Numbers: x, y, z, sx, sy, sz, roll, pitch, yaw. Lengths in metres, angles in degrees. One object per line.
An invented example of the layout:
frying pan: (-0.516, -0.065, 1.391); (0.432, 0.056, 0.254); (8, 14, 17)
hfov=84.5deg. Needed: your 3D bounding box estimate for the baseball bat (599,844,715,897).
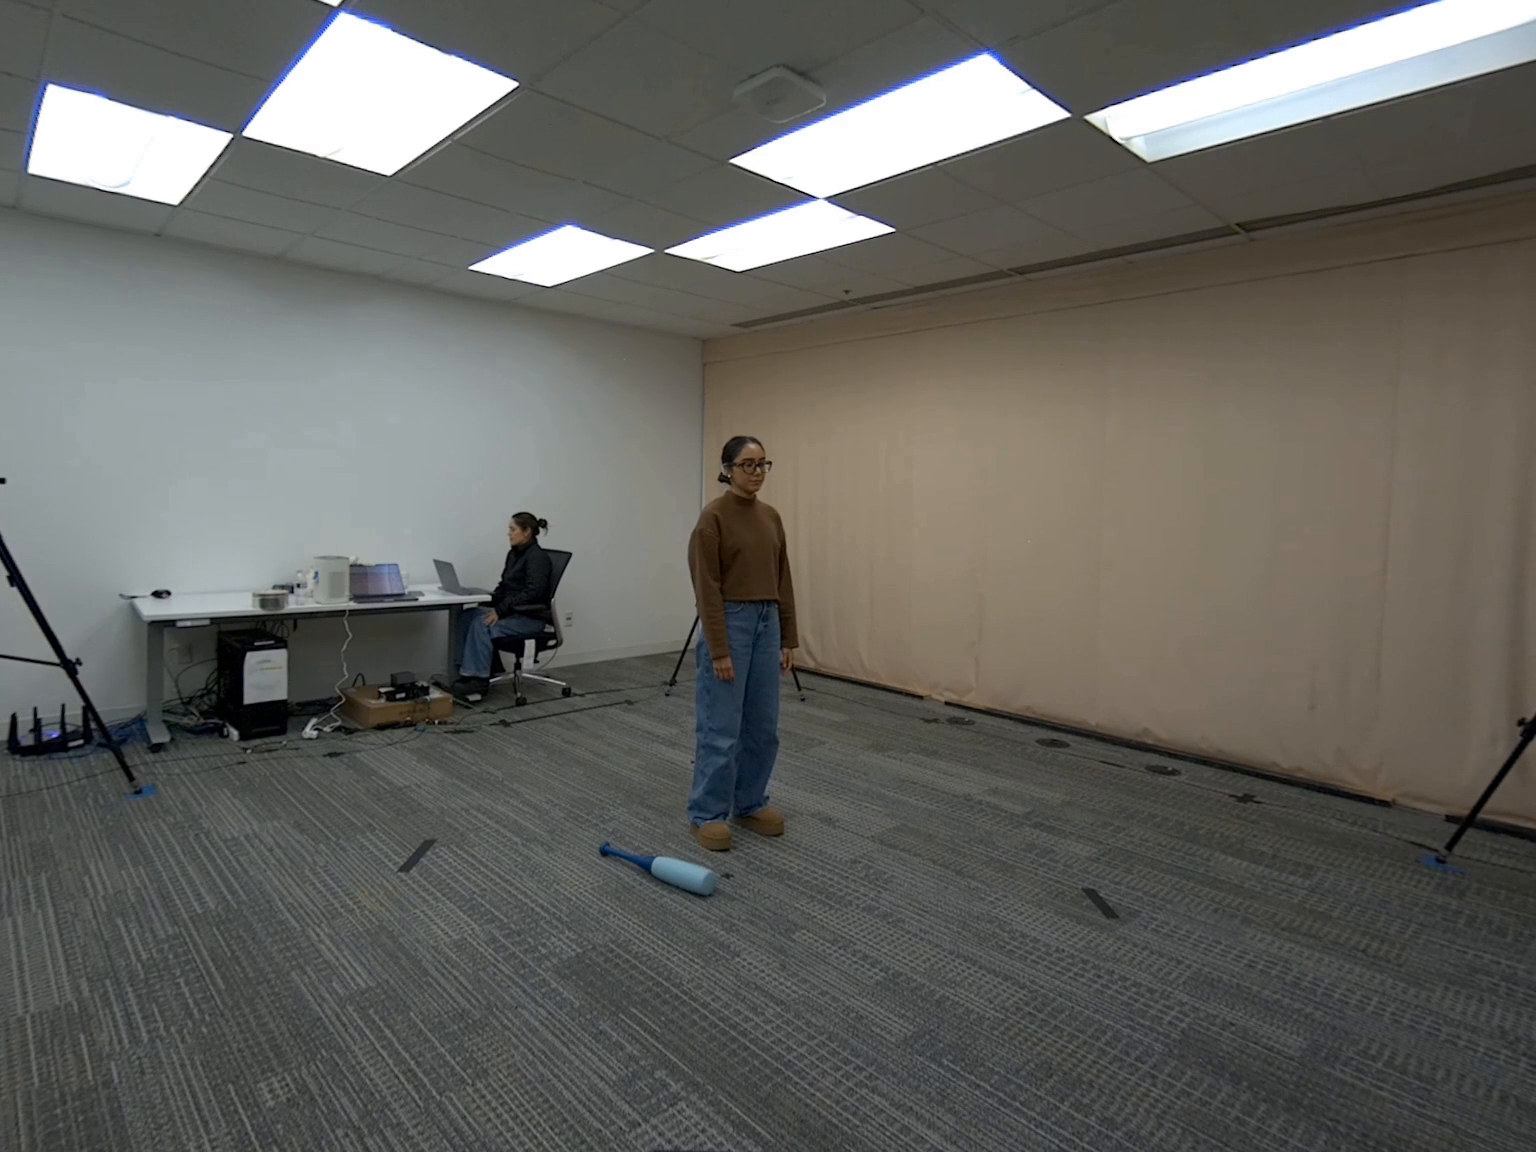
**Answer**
baseball bat: (-0.426, 1.067, 3.091); (0.556, 0.089, 0.087); (2, 4, 38)
